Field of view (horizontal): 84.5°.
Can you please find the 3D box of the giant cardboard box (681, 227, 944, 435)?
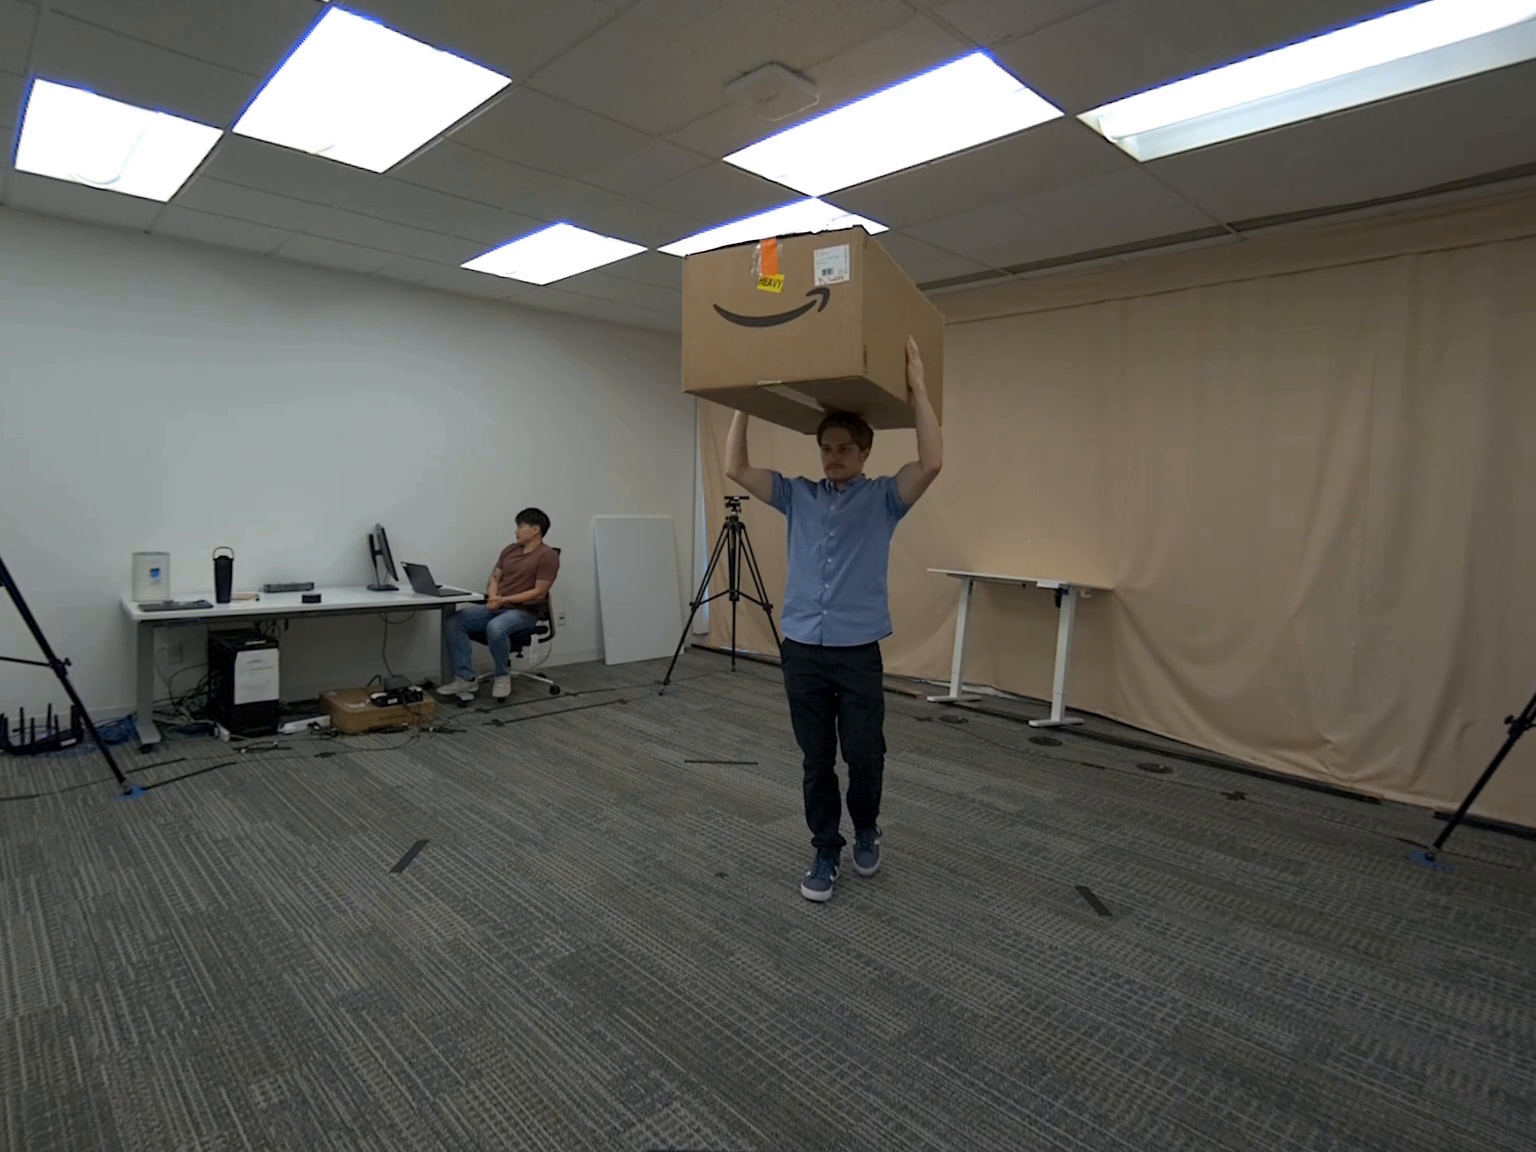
[{"bbox_3d":[0.200,-0.780,2.894,0.588,0.426,1.008,1,2,24],"label":"giant cardboard box"}]
